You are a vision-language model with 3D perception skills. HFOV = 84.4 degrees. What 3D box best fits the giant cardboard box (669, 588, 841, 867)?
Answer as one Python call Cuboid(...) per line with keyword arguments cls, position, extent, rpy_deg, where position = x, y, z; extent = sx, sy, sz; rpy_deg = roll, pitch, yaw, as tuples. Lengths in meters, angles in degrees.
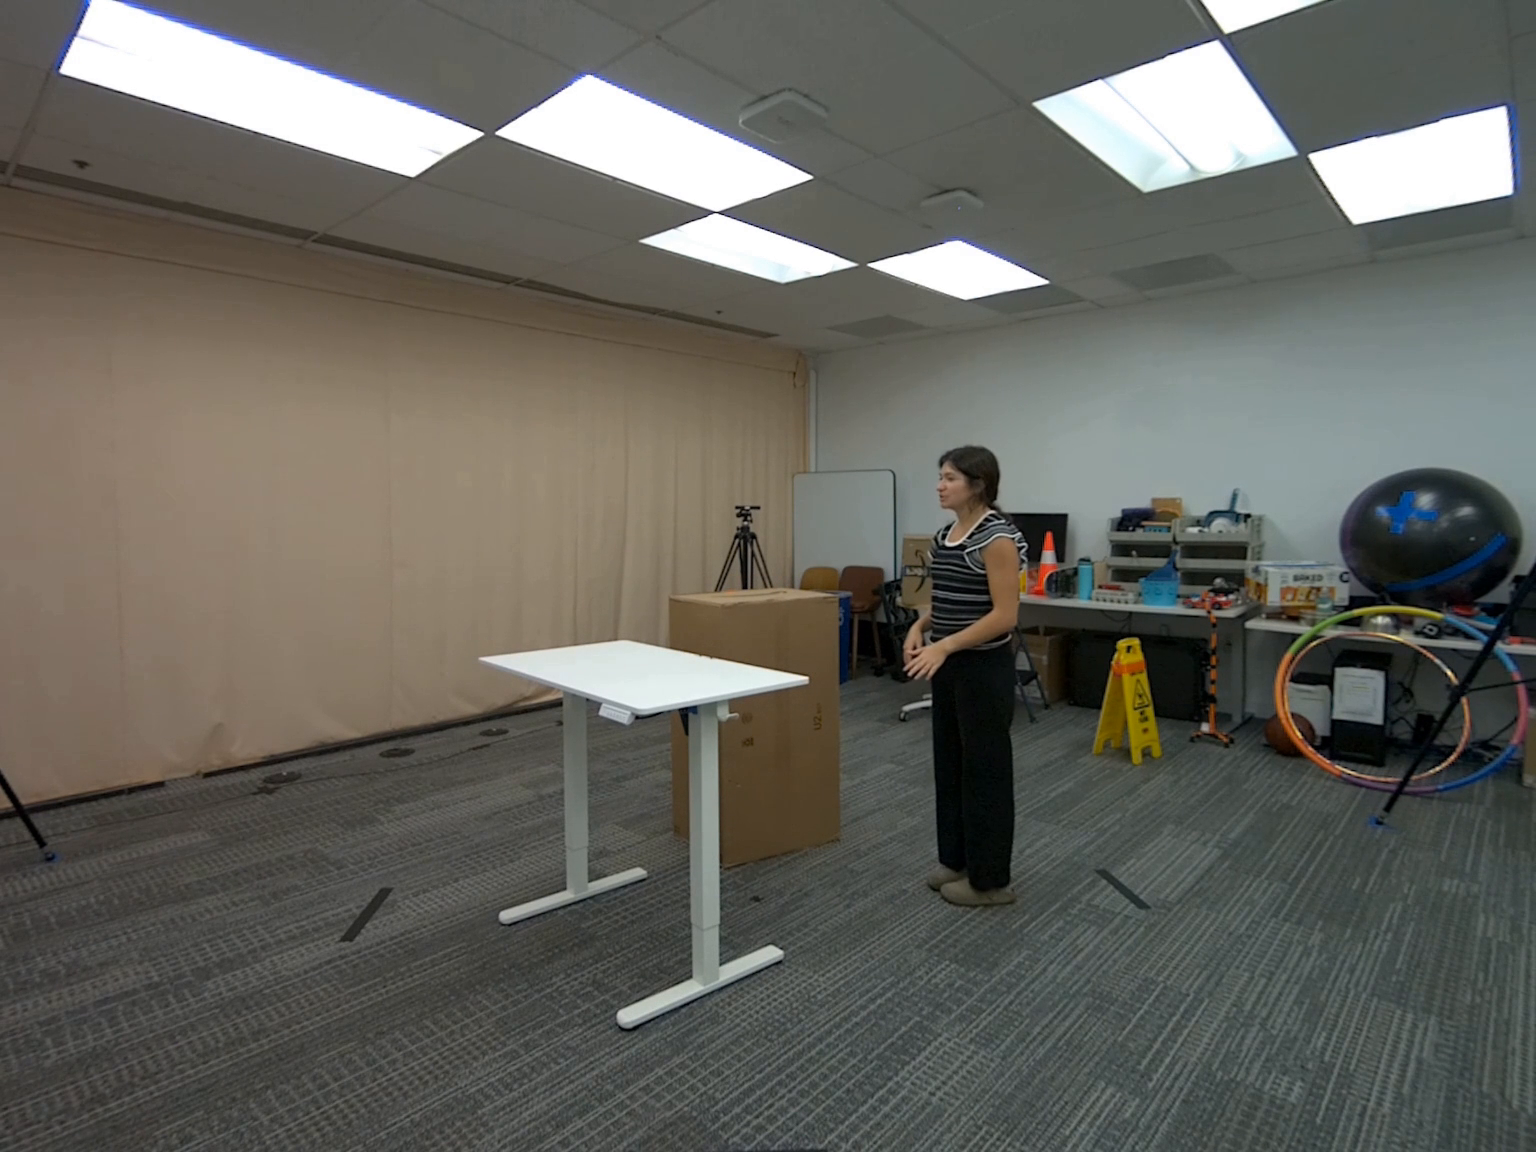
Cuboid(cls="giant cardboard box", position=(-0.058, 0.588, 3.528), extent=(0.562, 1.024, 0.439), rpy_deg=(-2, 3, -32))
